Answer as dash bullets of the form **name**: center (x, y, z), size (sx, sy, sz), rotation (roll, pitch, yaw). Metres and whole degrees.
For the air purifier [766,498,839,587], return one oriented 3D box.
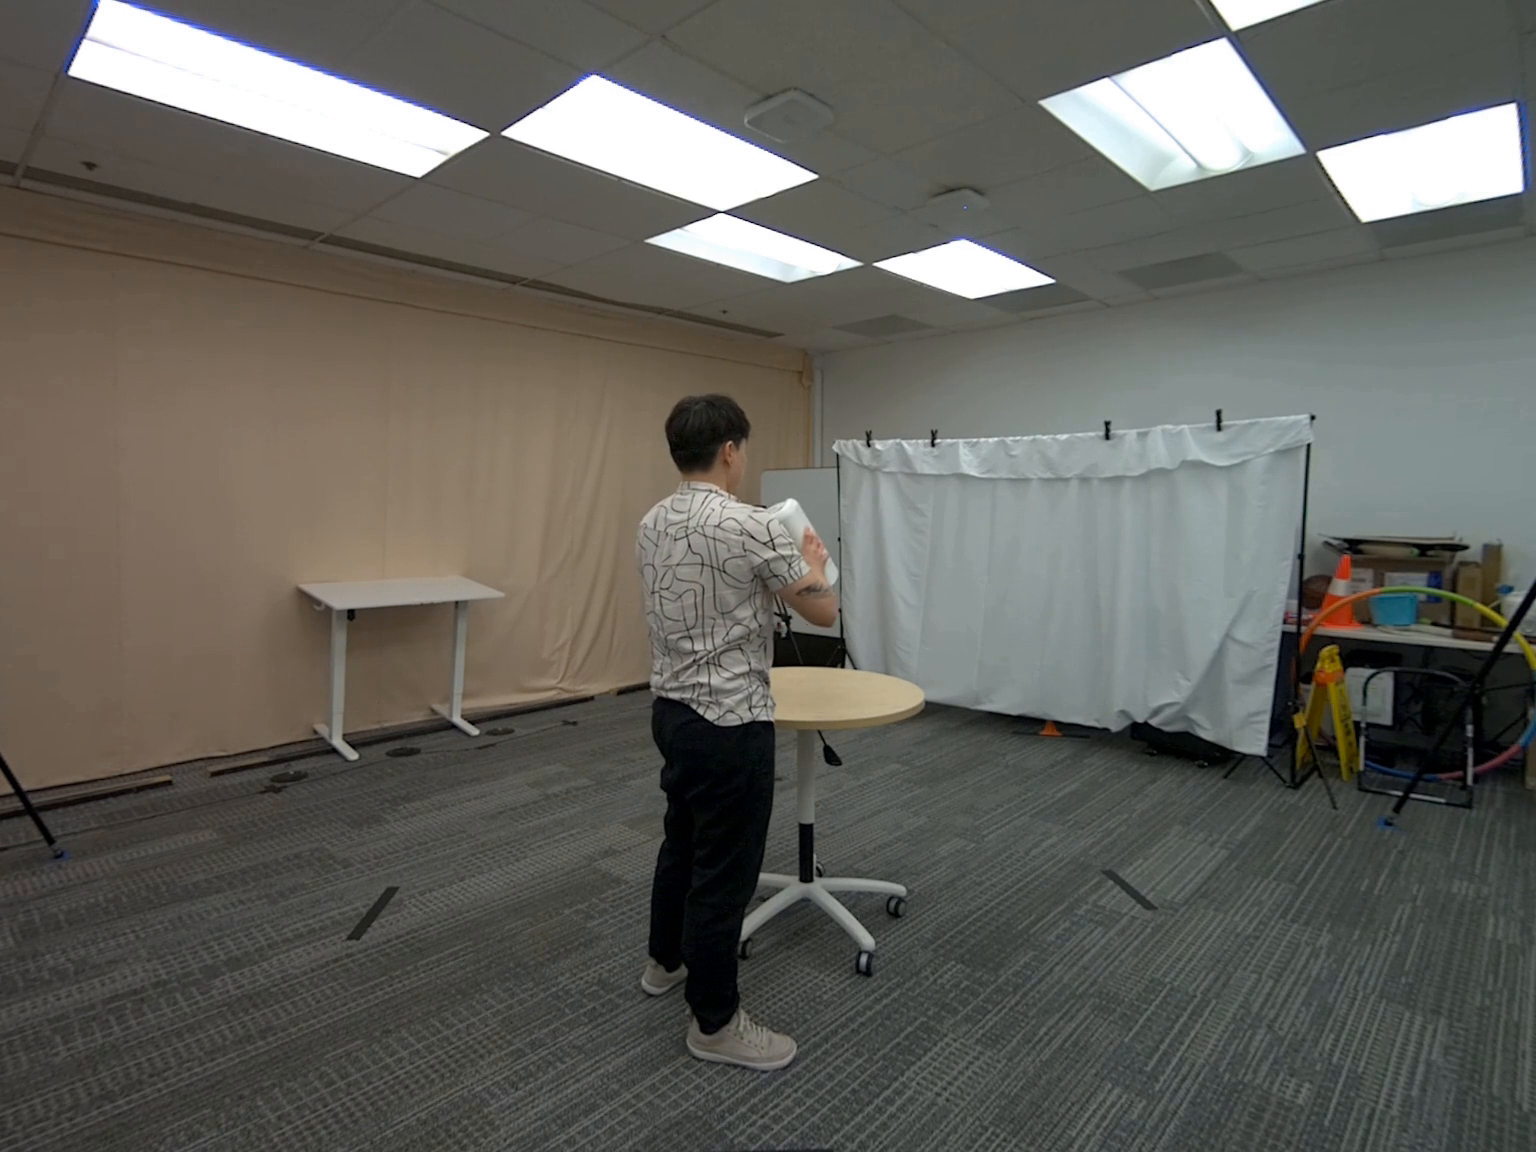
- **air purifier**: center (0.071, -0.073, 2.437), size (0.174, 0.263, 0.171), rotation (-28, 10, 20)
